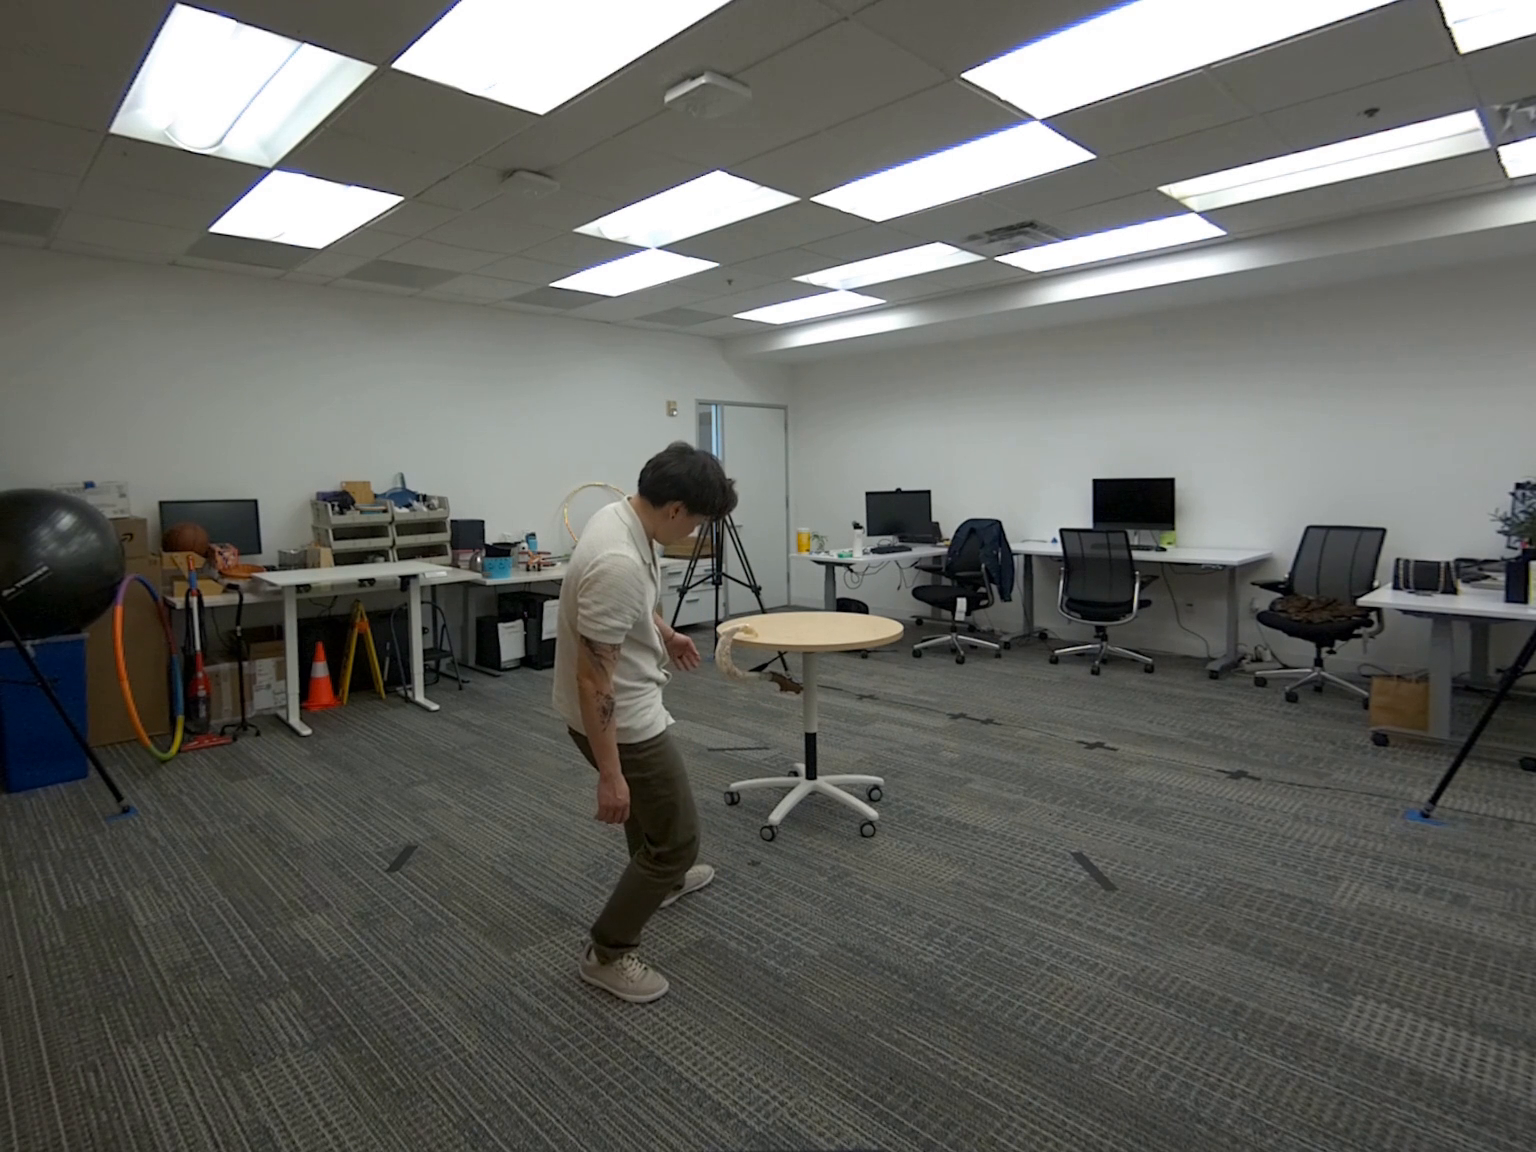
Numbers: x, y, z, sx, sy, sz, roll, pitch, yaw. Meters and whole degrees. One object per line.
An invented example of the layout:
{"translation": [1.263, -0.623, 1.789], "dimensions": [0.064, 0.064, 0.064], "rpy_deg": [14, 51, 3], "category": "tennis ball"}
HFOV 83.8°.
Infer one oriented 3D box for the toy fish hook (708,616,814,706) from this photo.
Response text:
{"translation": [-0.018, 0.336, 3.350], "dimensions": [0.049, 0.227, 0.488], "rpy_deg": [-2, -20, 45], "category": "toy fish hook"}
